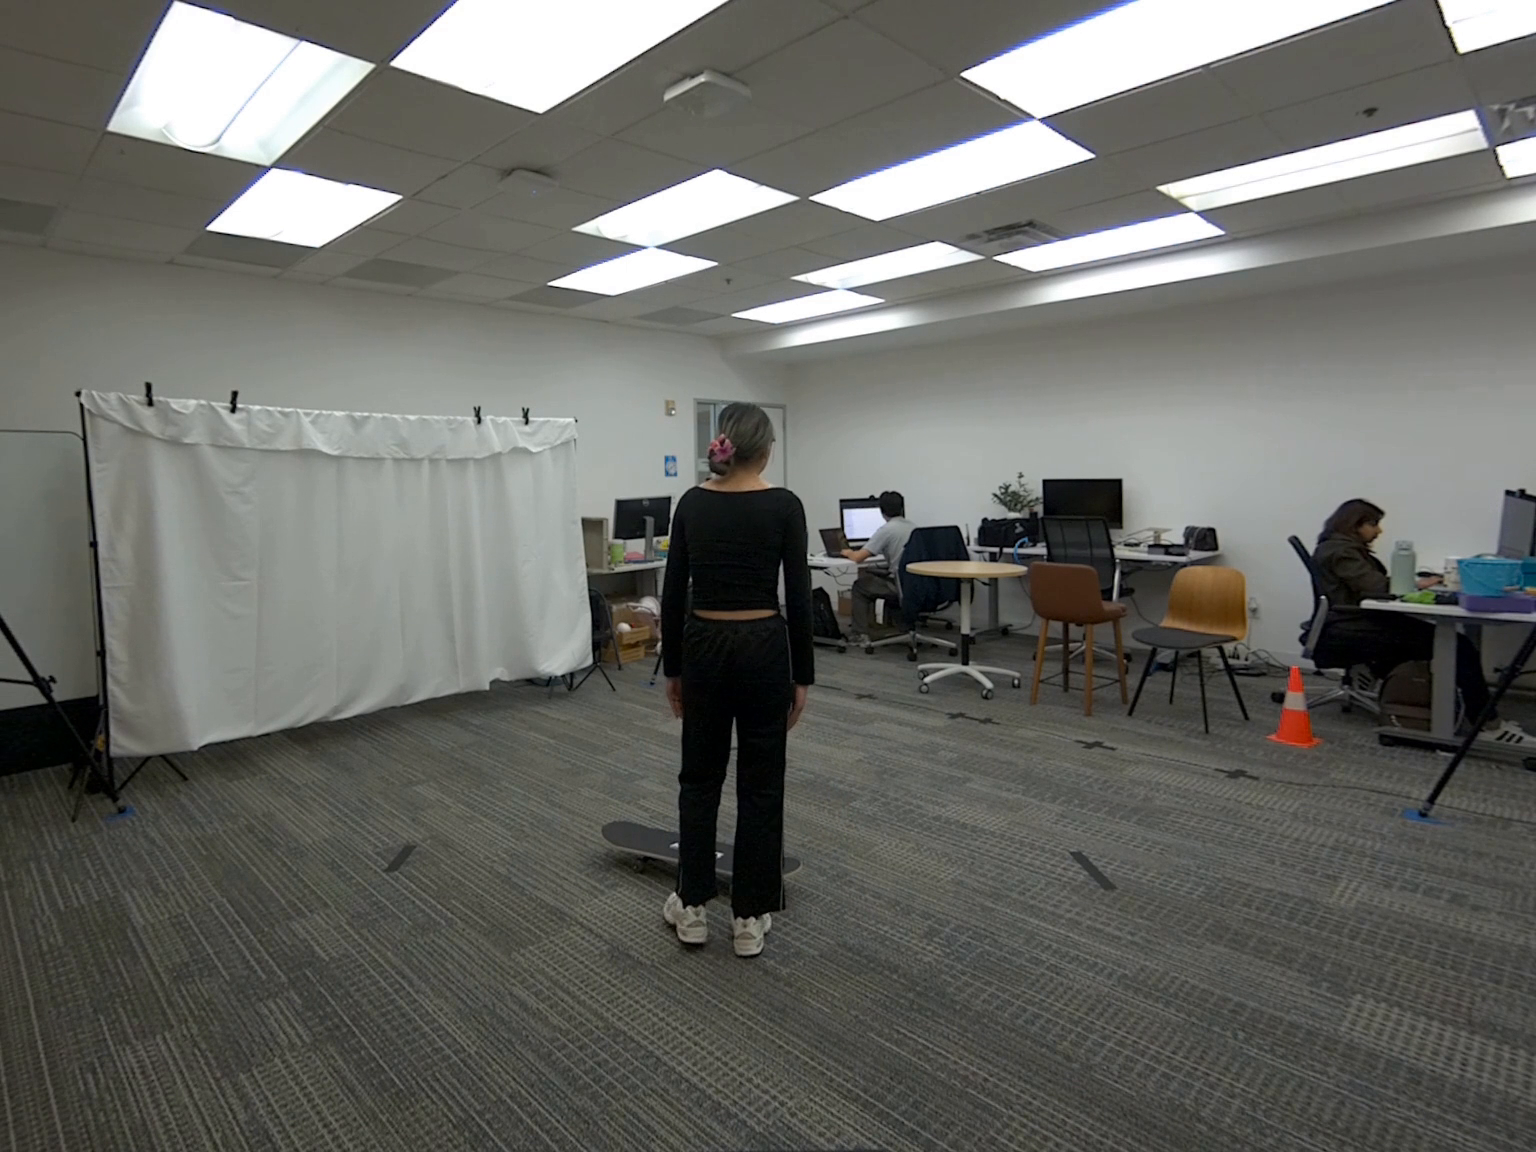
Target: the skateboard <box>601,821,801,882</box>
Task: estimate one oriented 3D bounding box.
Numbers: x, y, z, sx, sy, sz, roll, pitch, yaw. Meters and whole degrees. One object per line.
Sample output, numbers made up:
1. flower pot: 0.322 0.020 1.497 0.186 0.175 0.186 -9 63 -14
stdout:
1. skateboard: -0.245 0.998 3.012 0.805 0.110 0.190 2 7 28
